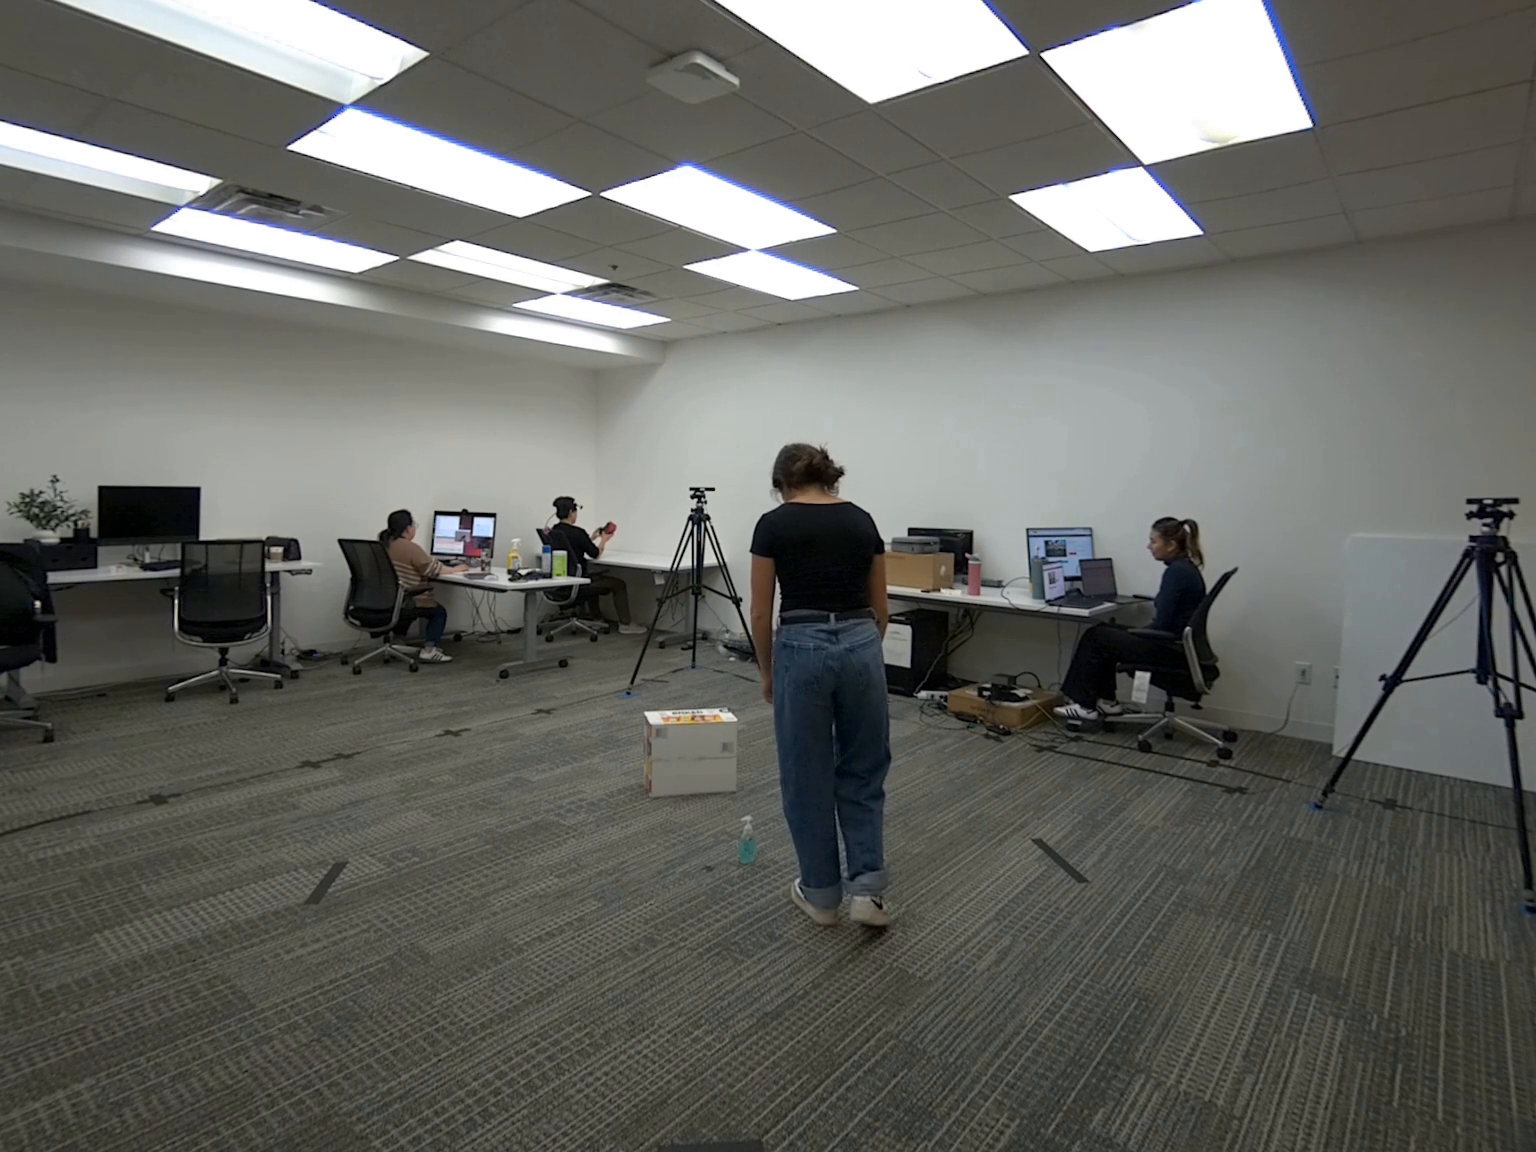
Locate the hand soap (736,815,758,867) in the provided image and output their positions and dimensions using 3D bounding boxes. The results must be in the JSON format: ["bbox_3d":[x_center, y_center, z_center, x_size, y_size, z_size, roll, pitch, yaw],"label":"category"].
[{"bbox_3d":[-0.087,0.983,3.176,0.082,0.168,0.045,2,4,-43],"label":"hand soap"}]
